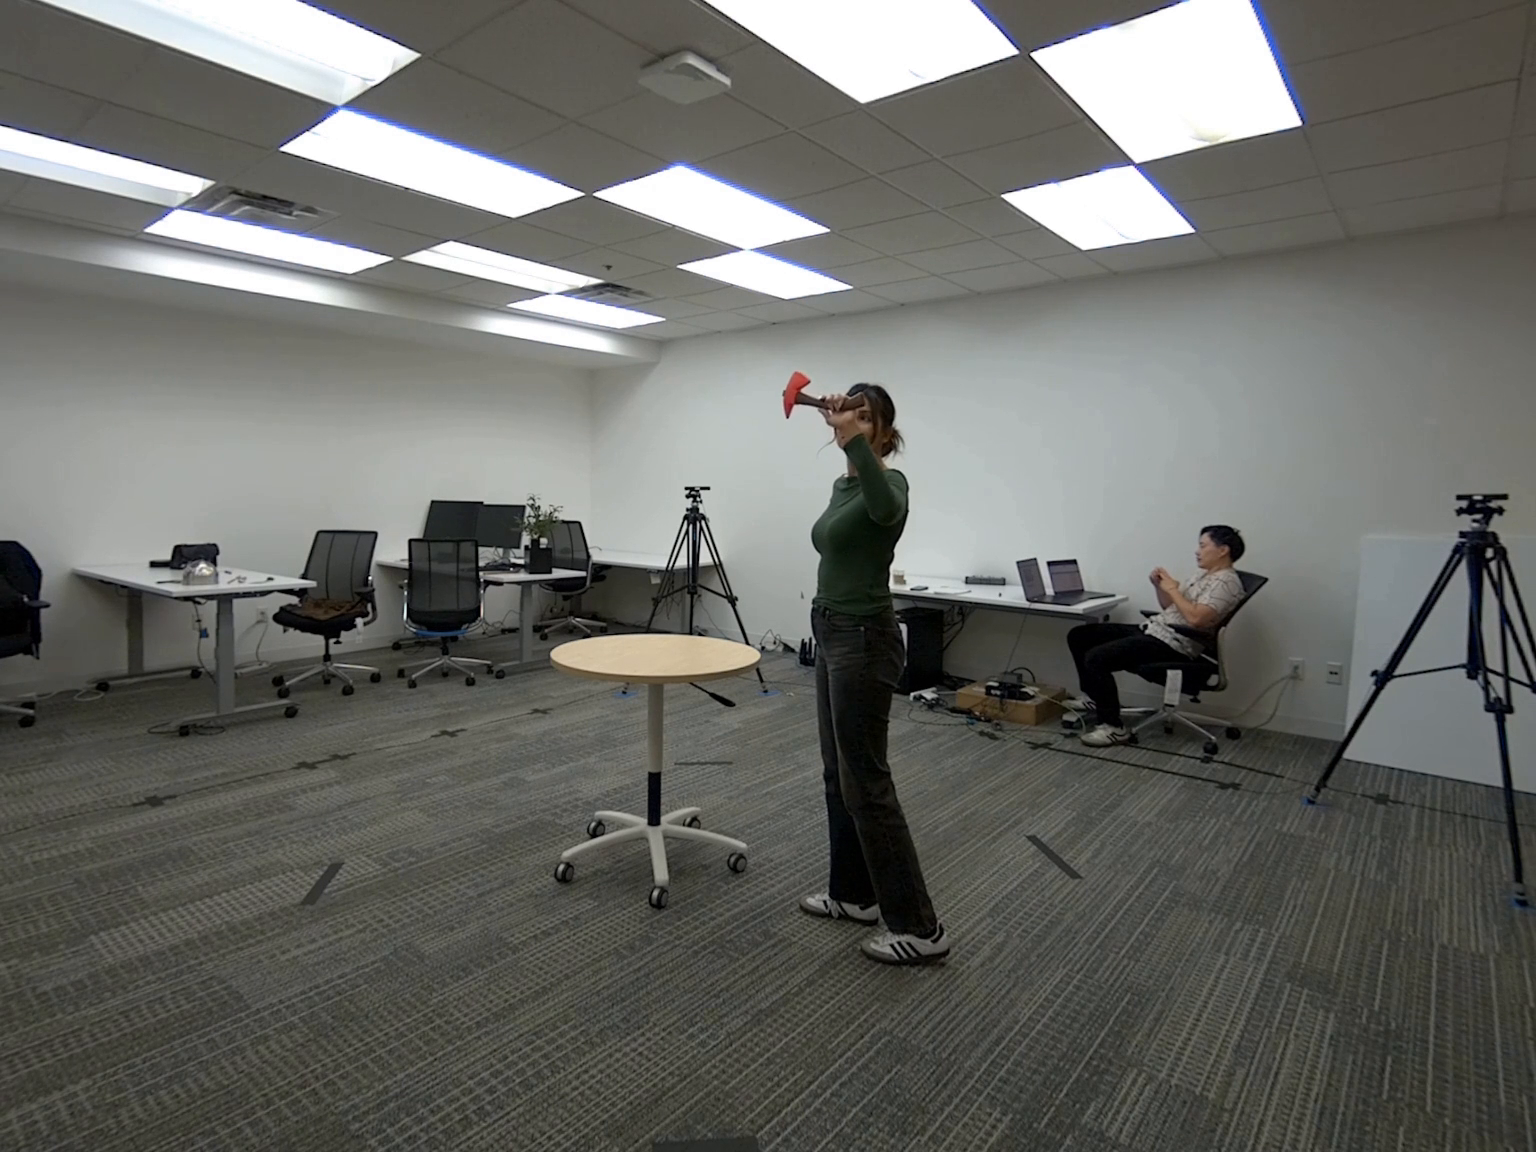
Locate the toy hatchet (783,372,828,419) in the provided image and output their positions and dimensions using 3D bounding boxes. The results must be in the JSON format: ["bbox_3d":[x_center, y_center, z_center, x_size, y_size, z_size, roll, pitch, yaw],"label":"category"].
[{"bbox_3d":[0.141,-0.518,2.361,0.278,0.131,0.028,0,0,40],"label":"toy hatchet"}]
